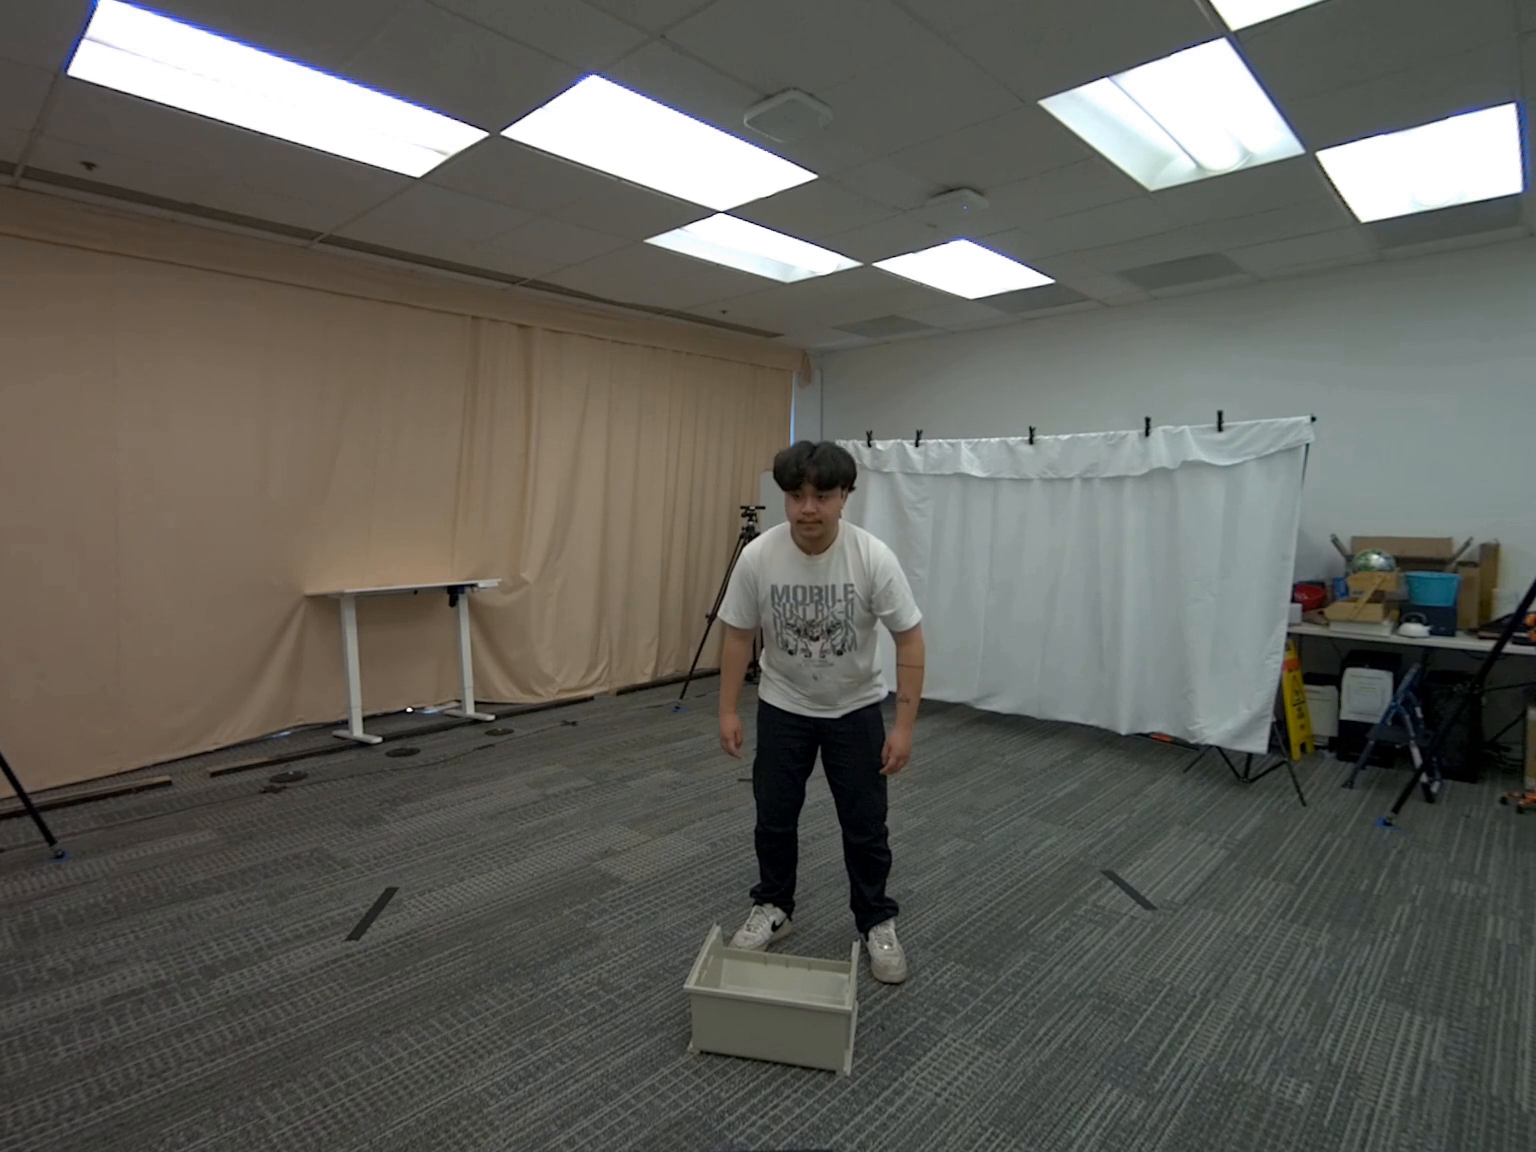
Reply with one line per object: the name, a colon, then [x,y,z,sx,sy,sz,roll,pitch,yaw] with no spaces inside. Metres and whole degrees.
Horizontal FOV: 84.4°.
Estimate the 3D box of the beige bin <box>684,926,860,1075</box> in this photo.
beige bin: [0.028,1.115,2.264,0.428,0.188,0.373,2,5,11]
